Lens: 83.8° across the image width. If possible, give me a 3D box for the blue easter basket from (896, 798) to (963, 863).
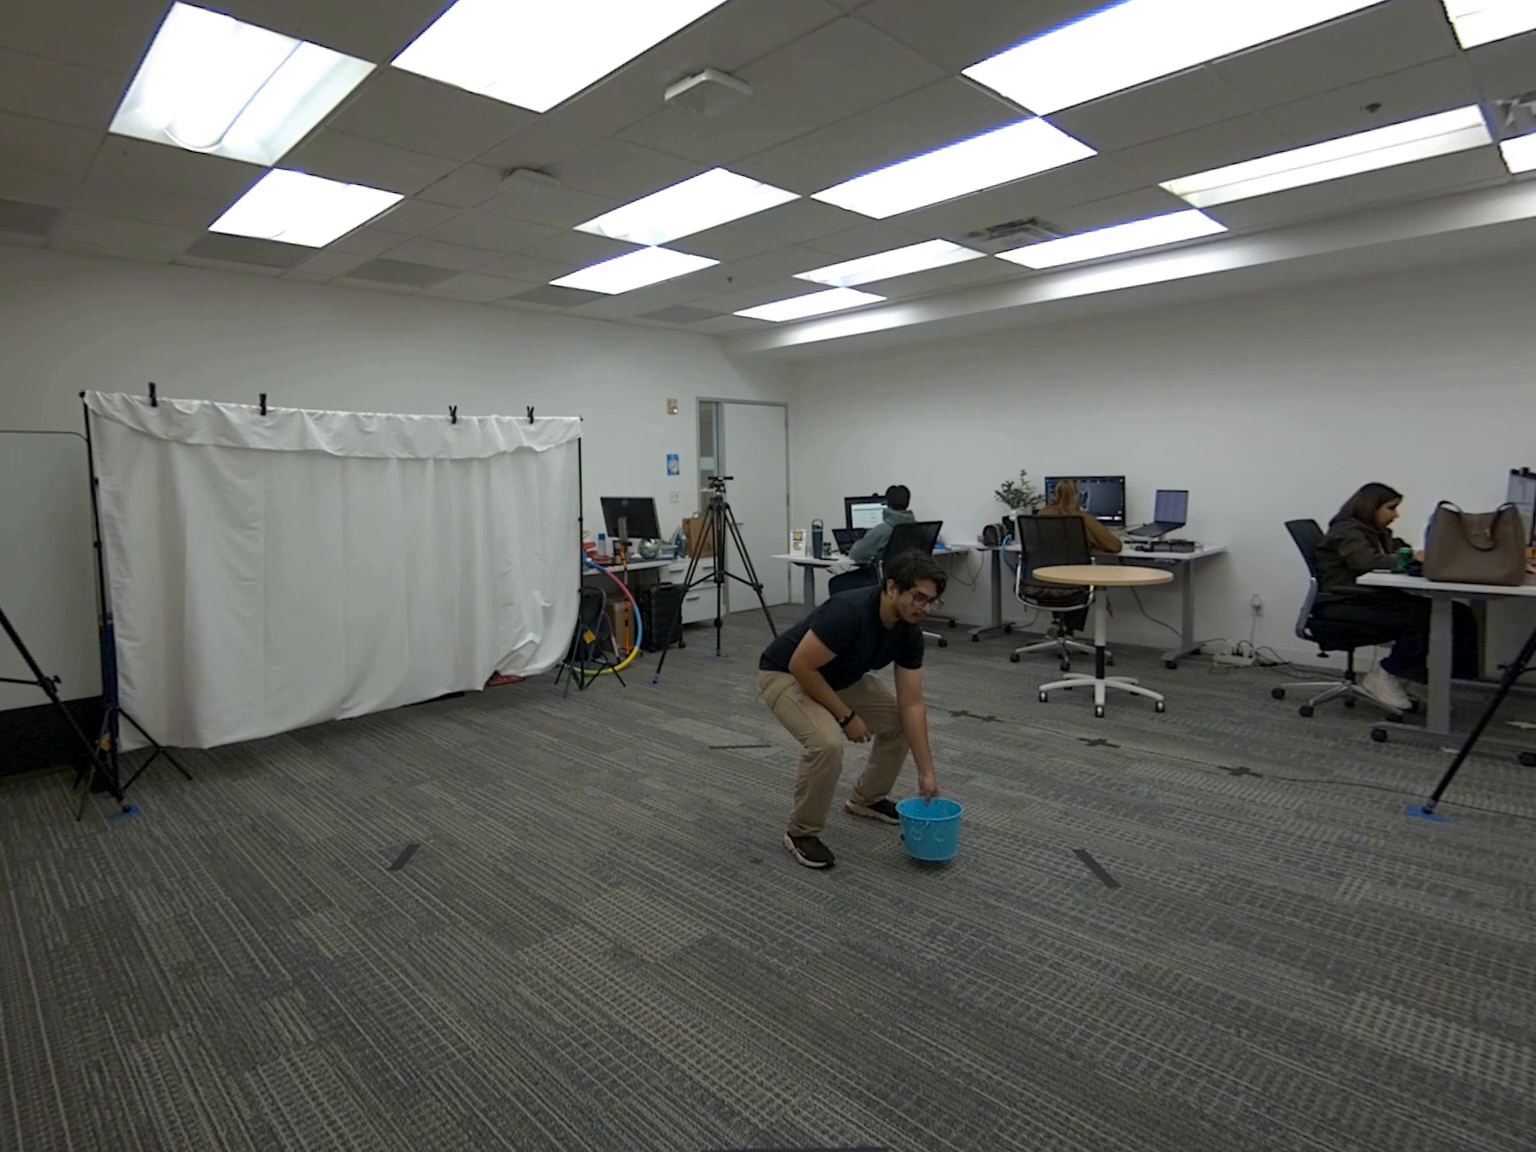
[{"bbox_3d":[0.579,0.905,3.061,0.243,0.155,0.244,-3,4,-2],"label":"blue easter basket"}]
